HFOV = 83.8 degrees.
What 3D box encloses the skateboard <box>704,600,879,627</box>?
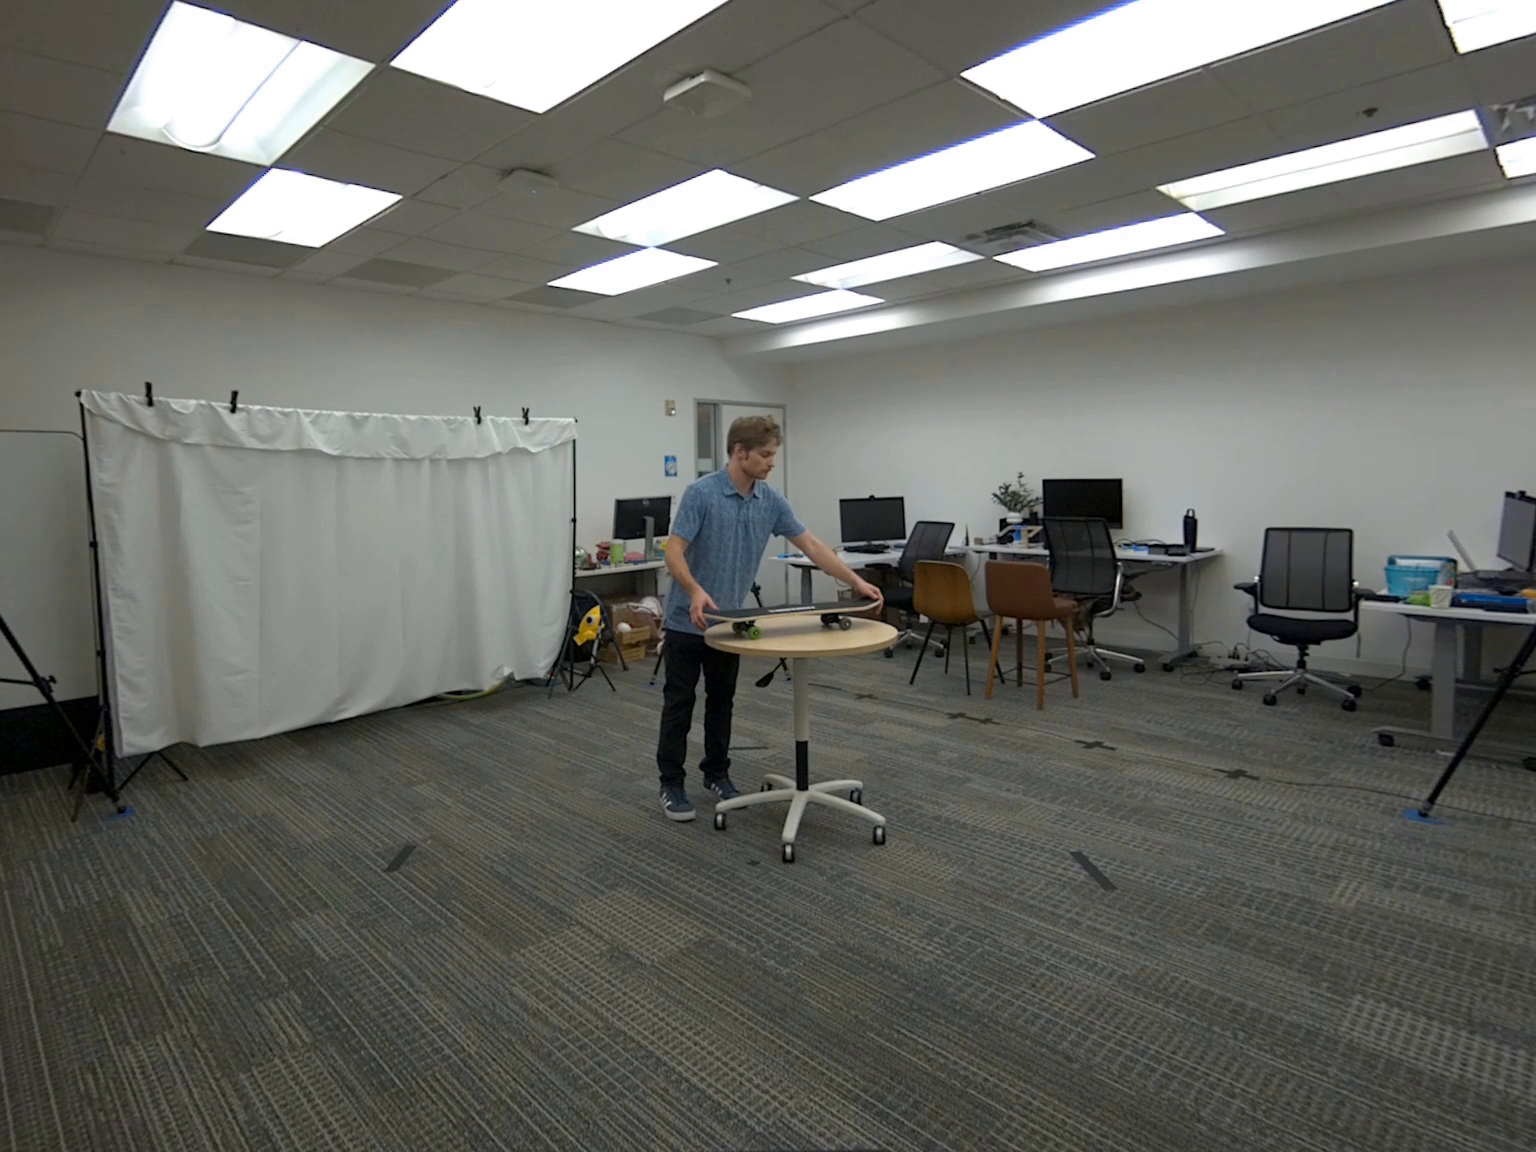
[{"bbox_3d":[0.102,0.167,3.402,0.770,0.110,0.198,-4,6,-23],"label":"skateboard"}]
